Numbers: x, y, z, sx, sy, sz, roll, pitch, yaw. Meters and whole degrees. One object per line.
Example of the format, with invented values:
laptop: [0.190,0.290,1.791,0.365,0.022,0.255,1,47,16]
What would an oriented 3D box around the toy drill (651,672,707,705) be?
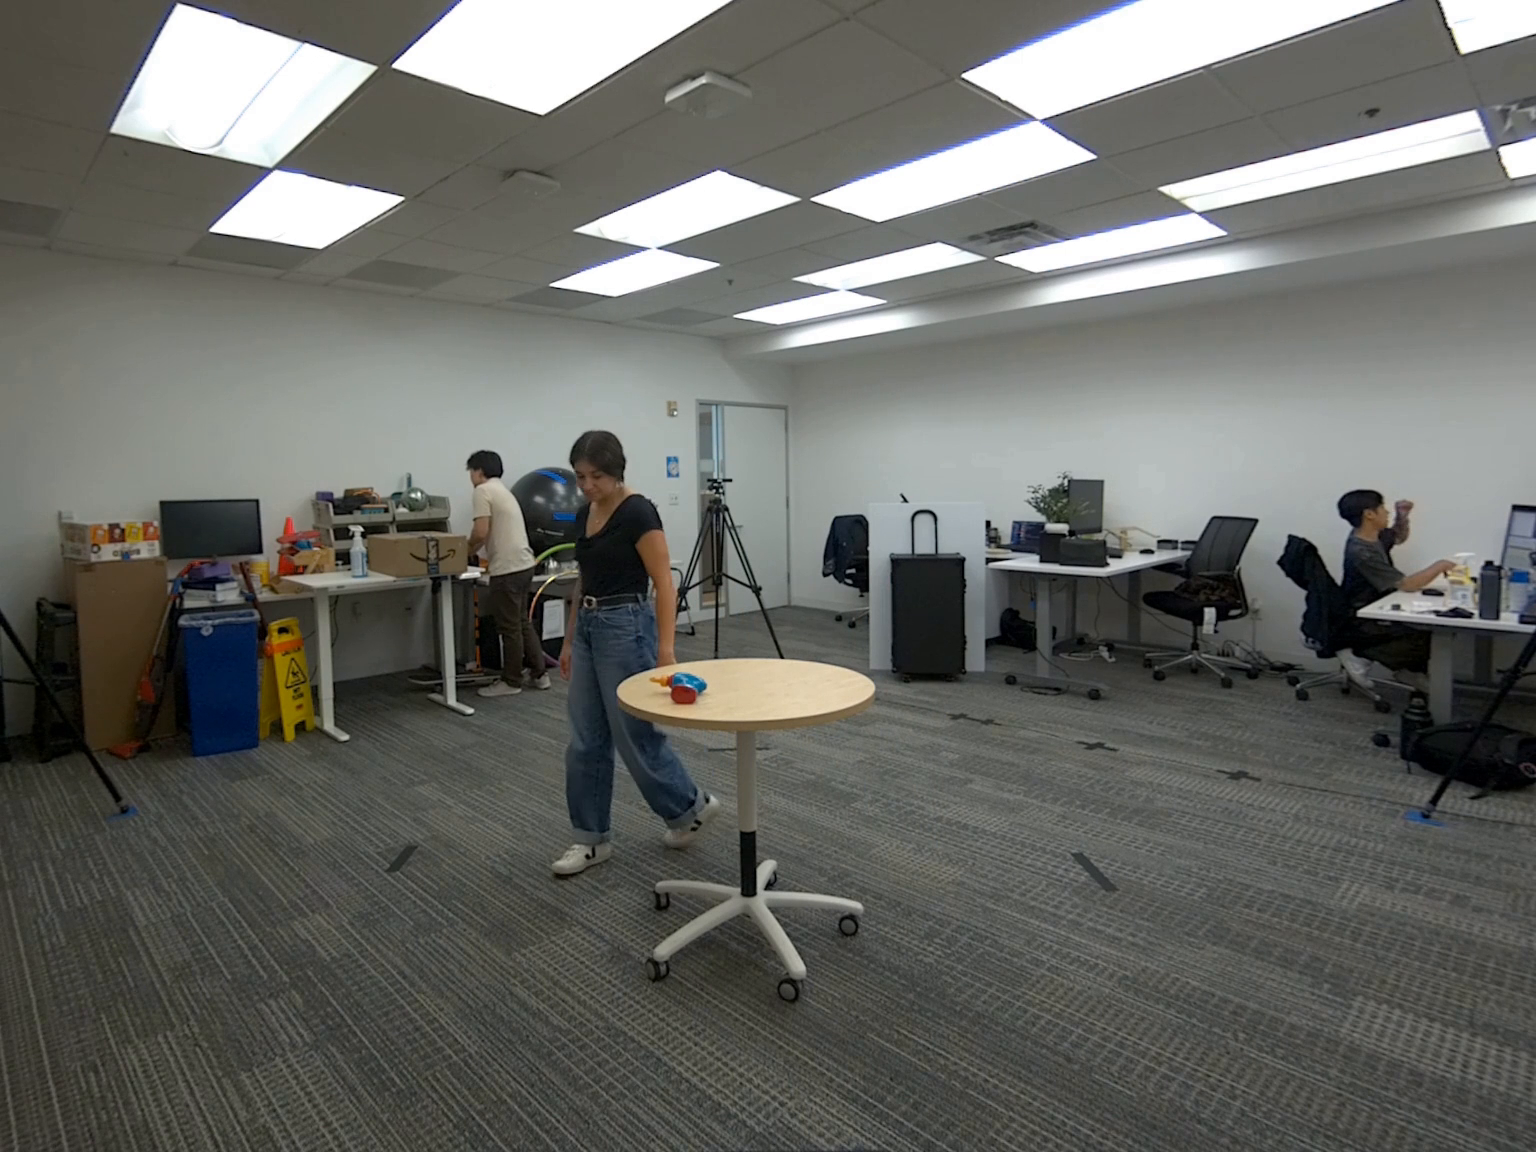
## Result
toy drill: [-0.256,0.316,2.414,0.171,0.061,0.146,7,7,5]
